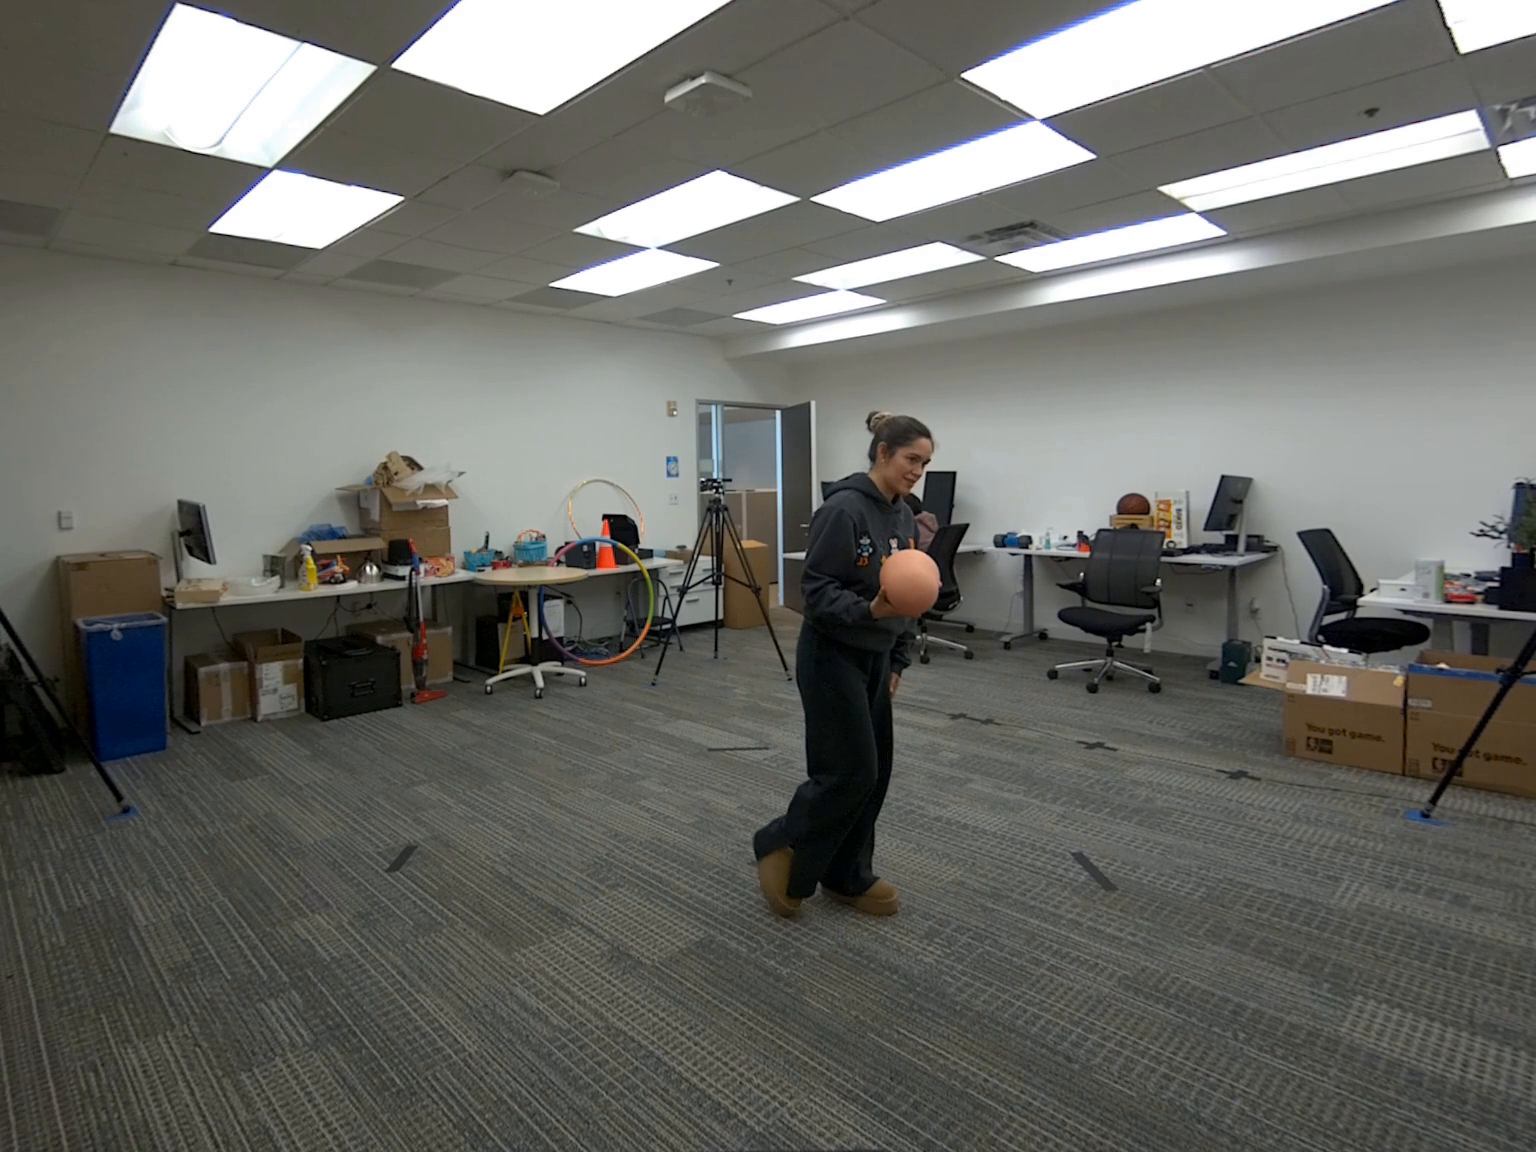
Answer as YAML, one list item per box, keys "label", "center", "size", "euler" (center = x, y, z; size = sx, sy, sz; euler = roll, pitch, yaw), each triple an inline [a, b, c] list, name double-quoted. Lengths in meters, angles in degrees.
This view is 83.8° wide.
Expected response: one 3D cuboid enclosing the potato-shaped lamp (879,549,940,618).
- label: "potato-shaped lamp"
  center: [0.413, 0.025, 2.410]
  size: [0.165, 0.166, 0.204]
  euler: [-36, 31, 16]
